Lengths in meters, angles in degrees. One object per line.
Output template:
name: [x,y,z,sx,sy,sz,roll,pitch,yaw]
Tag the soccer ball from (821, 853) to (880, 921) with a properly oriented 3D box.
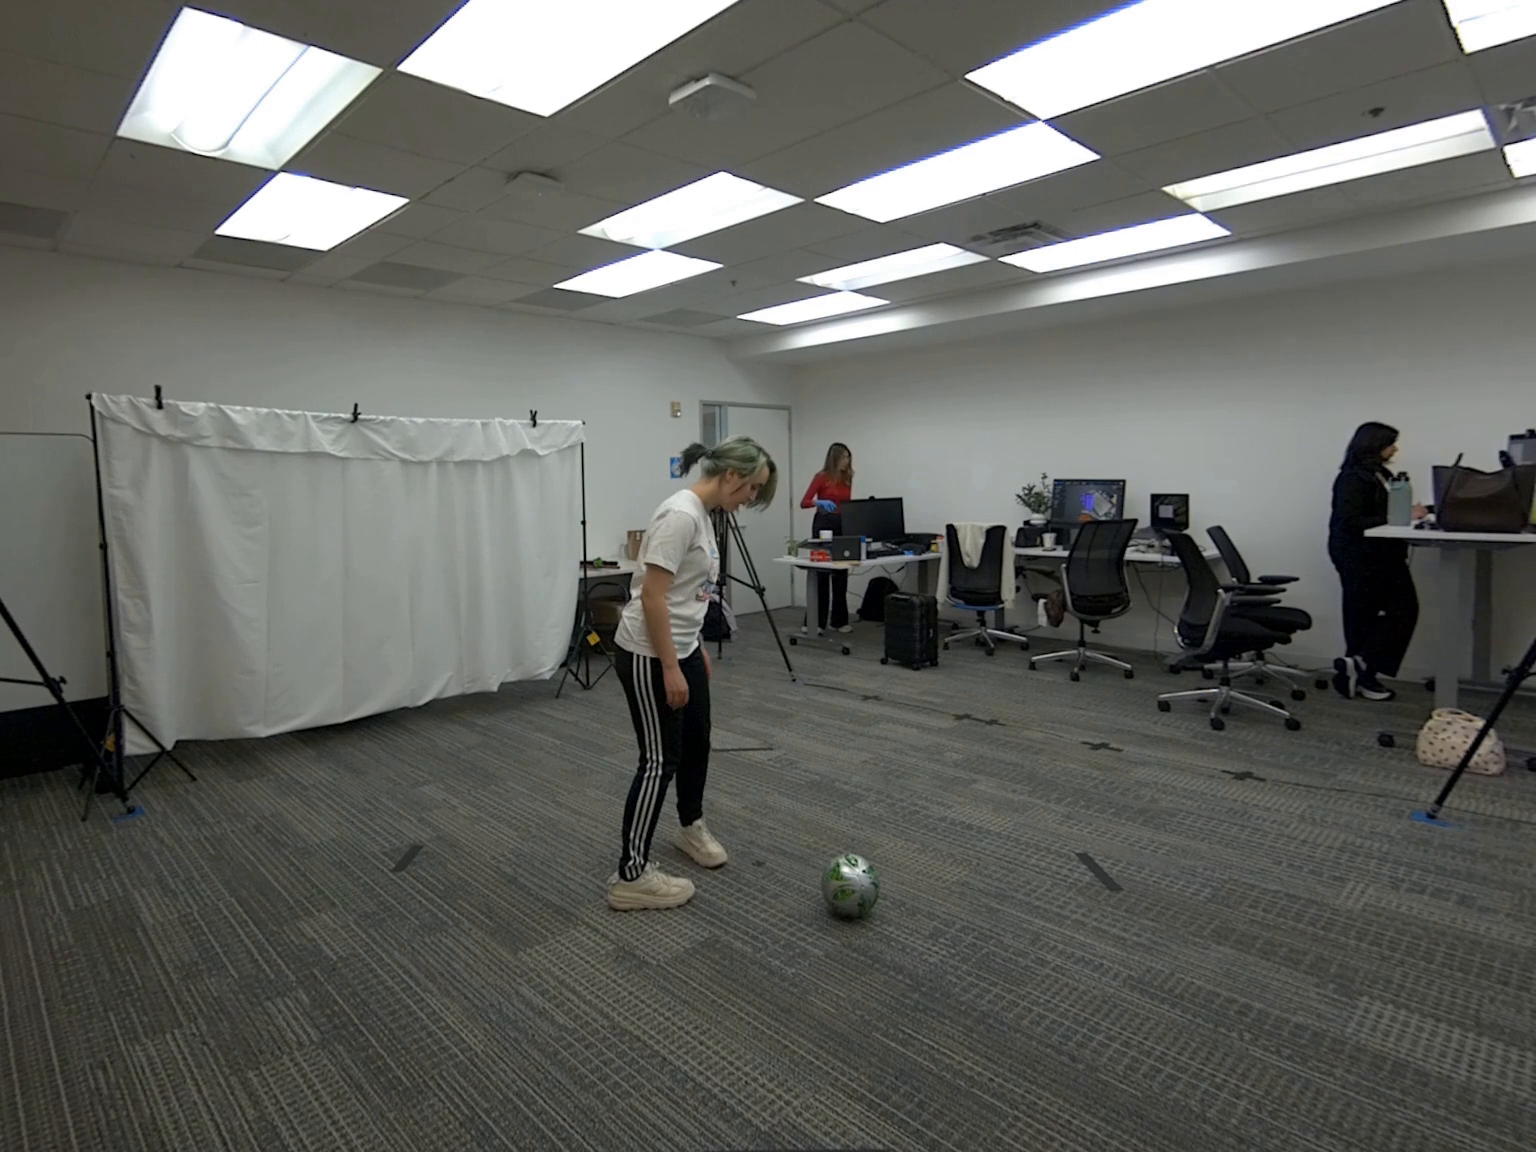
soccer ball: [0.262,0.983,2.734,0.187,0.187,0.188,-1,5,-2]
